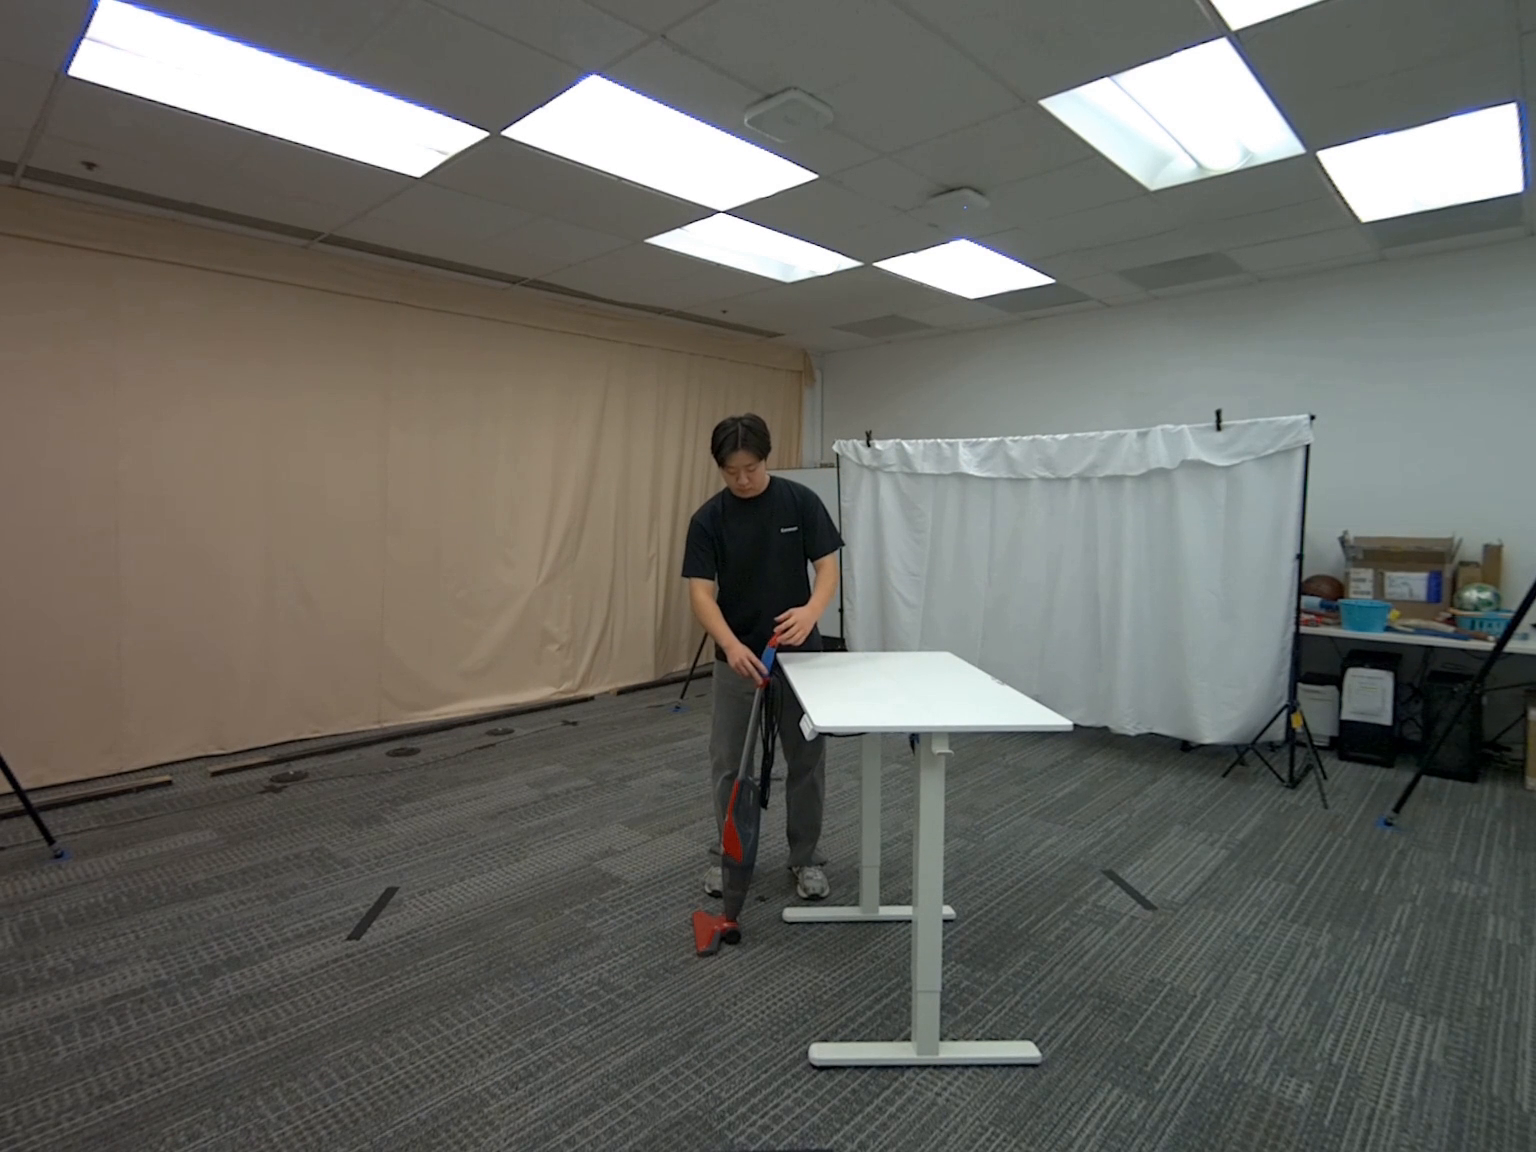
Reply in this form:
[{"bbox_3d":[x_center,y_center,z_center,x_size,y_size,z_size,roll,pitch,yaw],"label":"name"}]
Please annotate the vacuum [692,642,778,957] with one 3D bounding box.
[{"bbox_3d":[-0.039,0.656,2.710,0.143,1.048,0.255,13,2,-9],"label":"vacuum"}]
